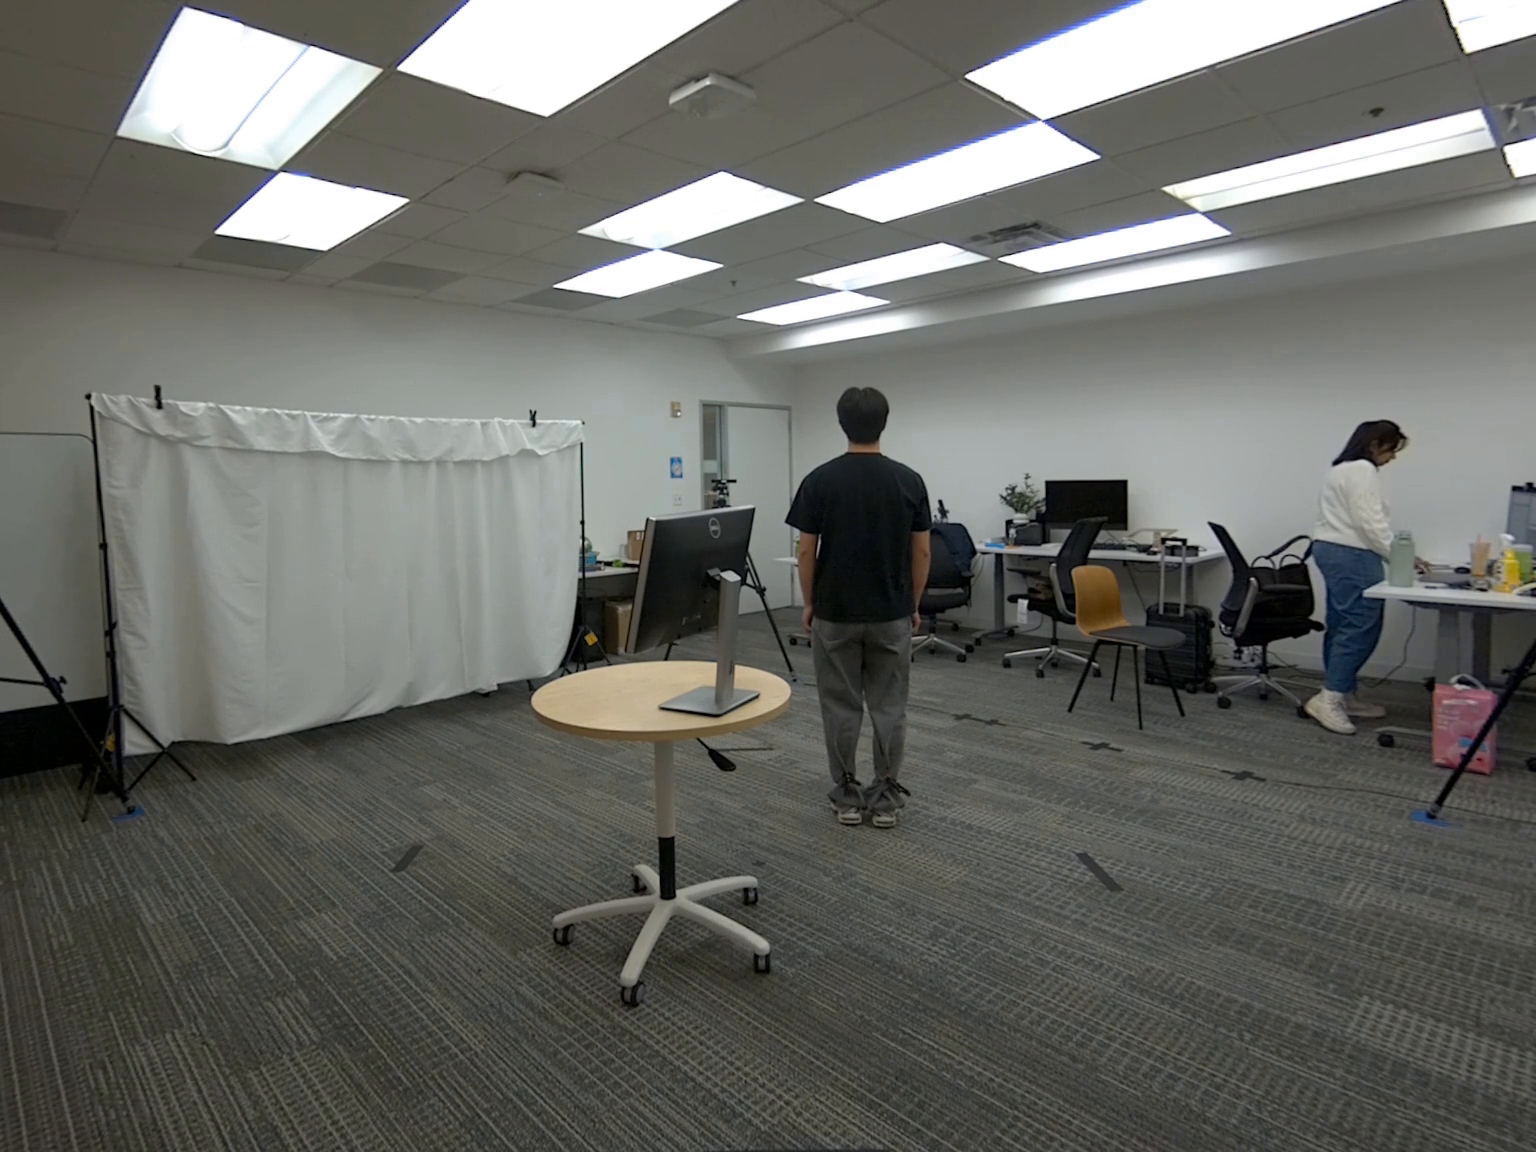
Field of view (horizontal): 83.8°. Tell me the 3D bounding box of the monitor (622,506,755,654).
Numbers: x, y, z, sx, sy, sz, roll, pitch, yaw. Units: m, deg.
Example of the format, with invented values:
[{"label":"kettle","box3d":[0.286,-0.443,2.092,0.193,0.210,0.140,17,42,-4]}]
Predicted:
[{"label":"monitor","box3d":[-0.171,0.099,2.390,0.228,0.564,0.550,-1,5,30]}]
